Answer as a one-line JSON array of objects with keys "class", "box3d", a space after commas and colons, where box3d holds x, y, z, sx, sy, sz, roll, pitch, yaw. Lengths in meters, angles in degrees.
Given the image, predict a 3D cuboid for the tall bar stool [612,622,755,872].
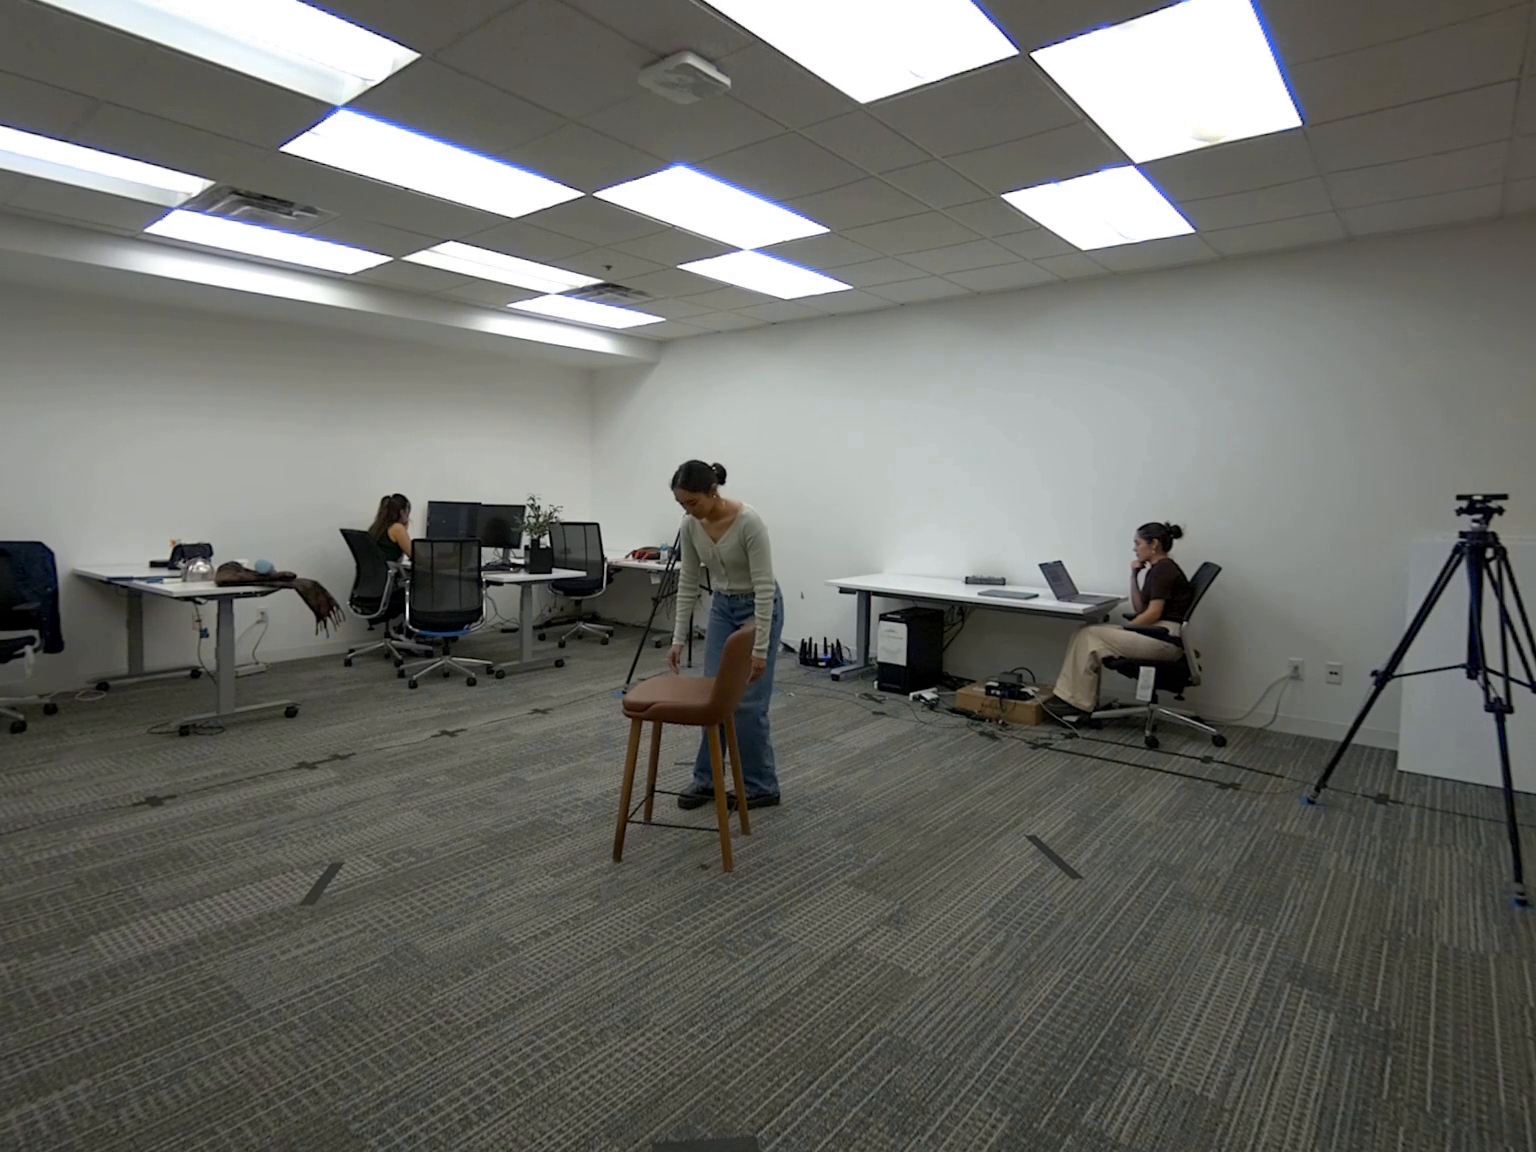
[{"class": "tall bar stool", "box3d": [-0.326, 0.612, 3.283, 0.475, 0.887, 0.451, 3, 4, 12]}]
